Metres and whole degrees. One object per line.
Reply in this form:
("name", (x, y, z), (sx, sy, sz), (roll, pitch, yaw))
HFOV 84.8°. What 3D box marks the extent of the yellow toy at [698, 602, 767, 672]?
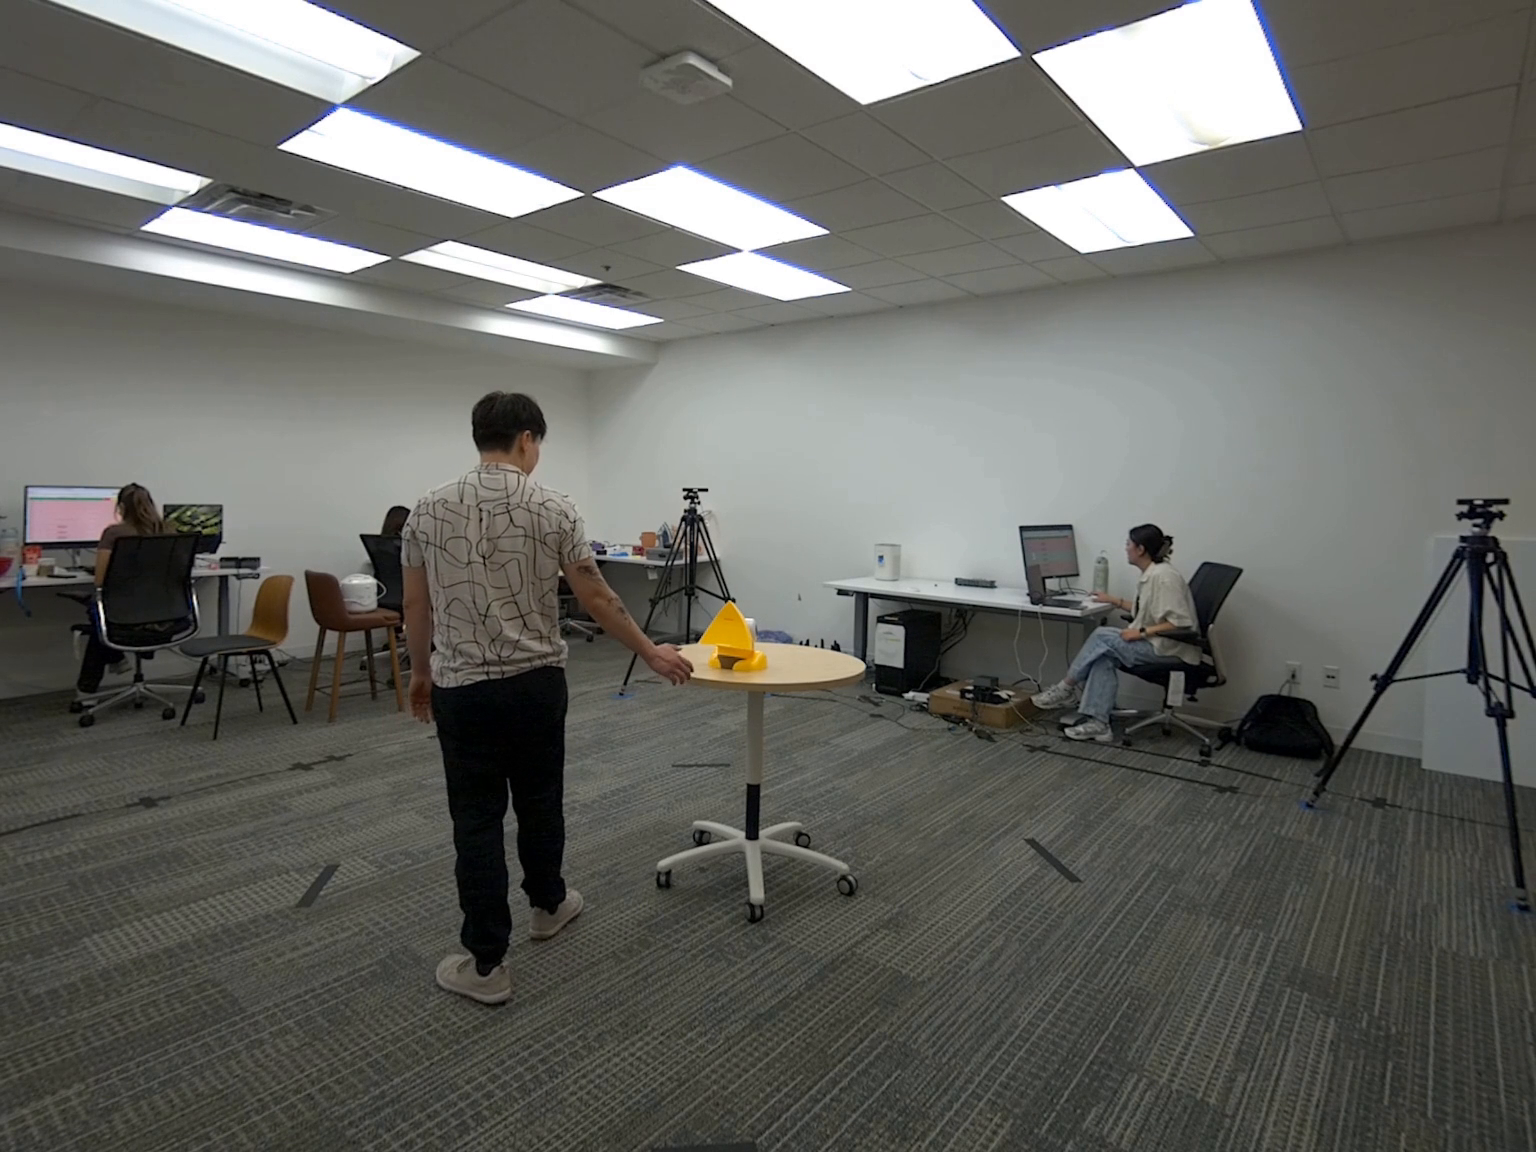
("yellow toy", (-0.113, 0.192, 2.914), (0.211, 0.230, 0.188), (3, 4, 29))
